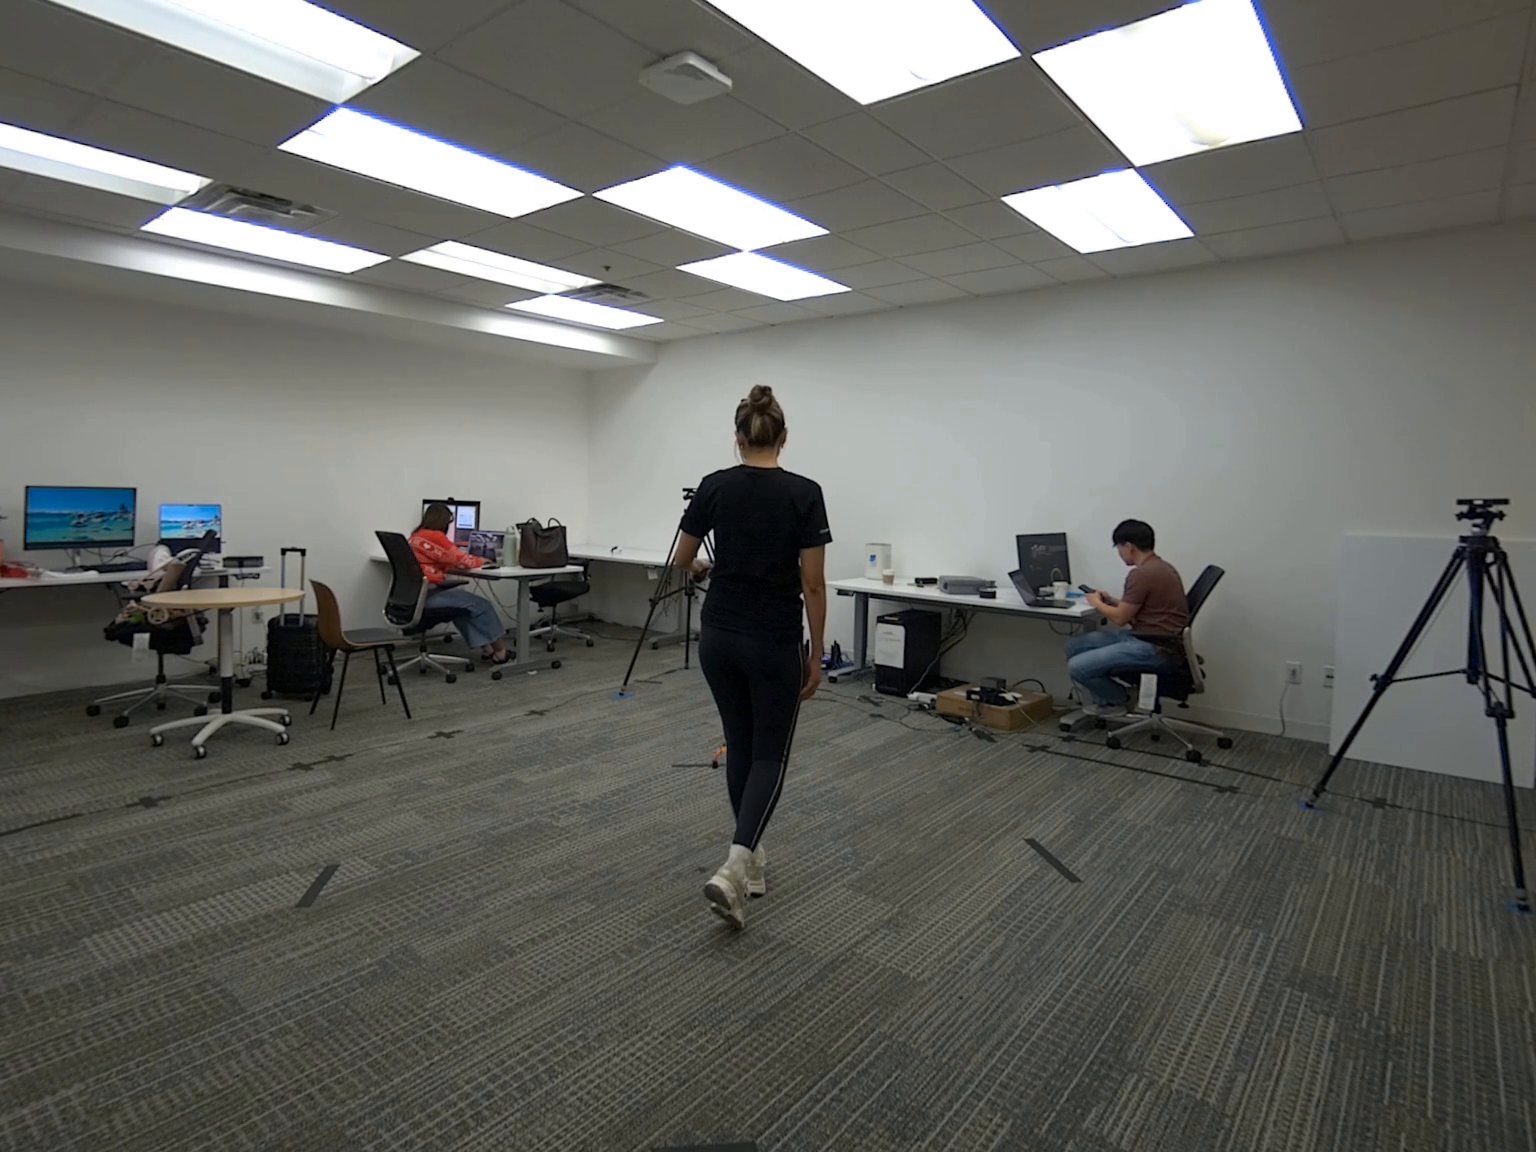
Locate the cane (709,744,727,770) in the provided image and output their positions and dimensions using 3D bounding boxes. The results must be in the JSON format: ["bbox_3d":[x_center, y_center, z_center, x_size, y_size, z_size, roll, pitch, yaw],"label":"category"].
[{"bbox_3d":[-0.202,0.374,3.468,0.155,0.888,0.206,3,23,23],"label":"cane"}]
